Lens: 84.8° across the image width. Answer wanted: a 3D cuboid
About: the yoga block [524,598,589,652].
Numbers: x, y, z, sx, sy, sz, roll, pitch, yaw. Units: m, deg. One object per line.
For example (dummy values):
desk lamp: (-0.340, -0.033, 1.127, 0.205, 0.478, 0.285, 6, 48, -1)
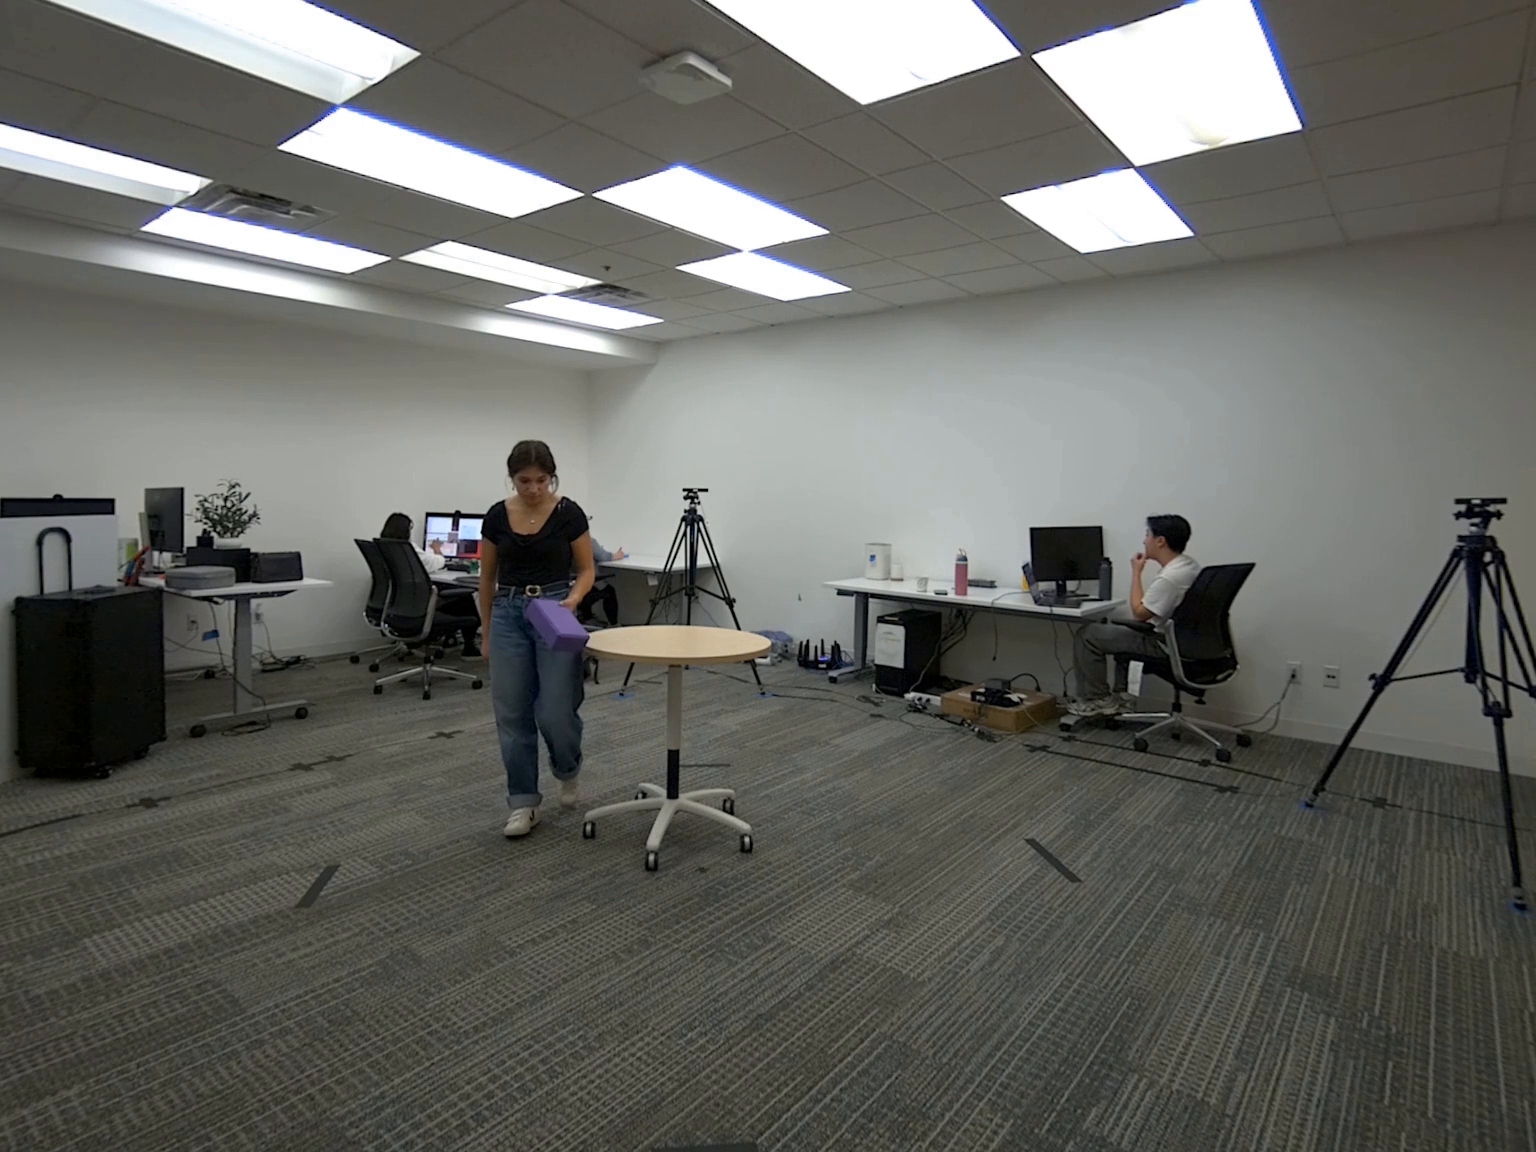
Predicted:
yoga block: (-0.777, 0.177, 3.152, 0.143, 0.076, 0.239, 12, 25, -48)
